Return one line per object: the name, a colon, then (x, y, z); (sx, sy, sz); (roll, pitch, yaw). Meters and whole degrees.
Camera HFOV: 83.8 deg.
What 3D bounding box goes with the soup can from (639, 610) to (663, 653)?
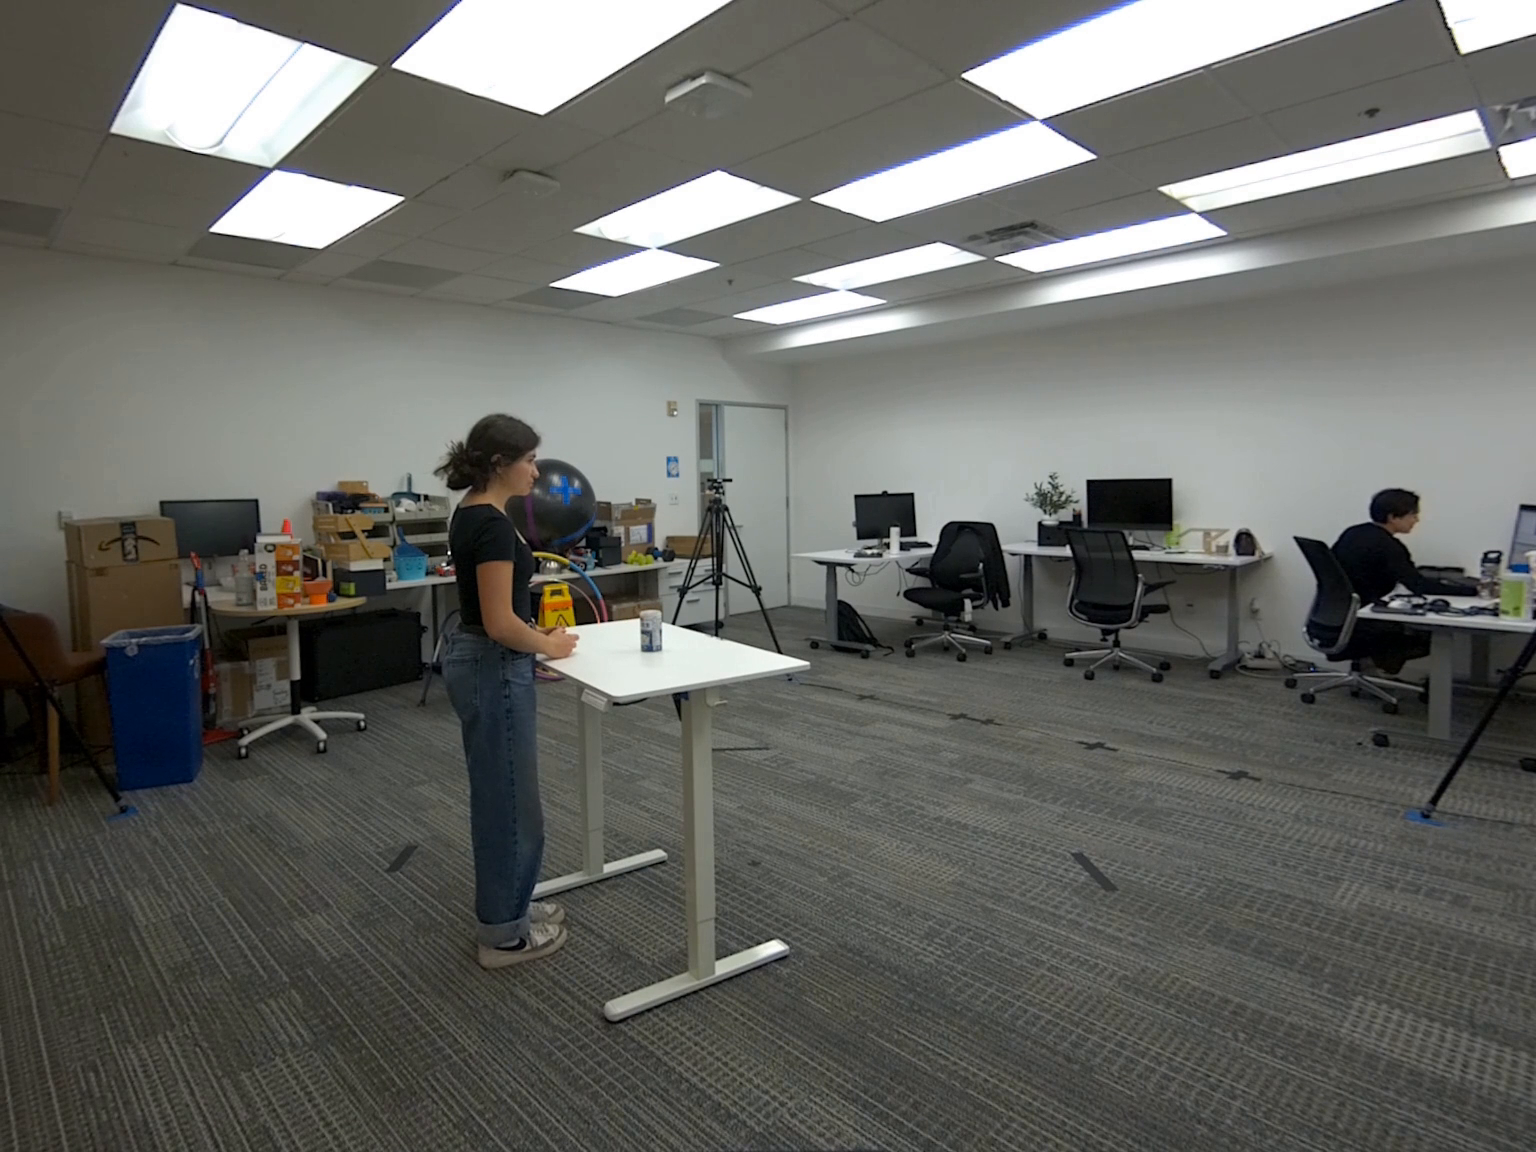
soup can: (-0.357, 0.168, 2.599); (0.067, 0.121, 0.067); (-1, 6, -2)
